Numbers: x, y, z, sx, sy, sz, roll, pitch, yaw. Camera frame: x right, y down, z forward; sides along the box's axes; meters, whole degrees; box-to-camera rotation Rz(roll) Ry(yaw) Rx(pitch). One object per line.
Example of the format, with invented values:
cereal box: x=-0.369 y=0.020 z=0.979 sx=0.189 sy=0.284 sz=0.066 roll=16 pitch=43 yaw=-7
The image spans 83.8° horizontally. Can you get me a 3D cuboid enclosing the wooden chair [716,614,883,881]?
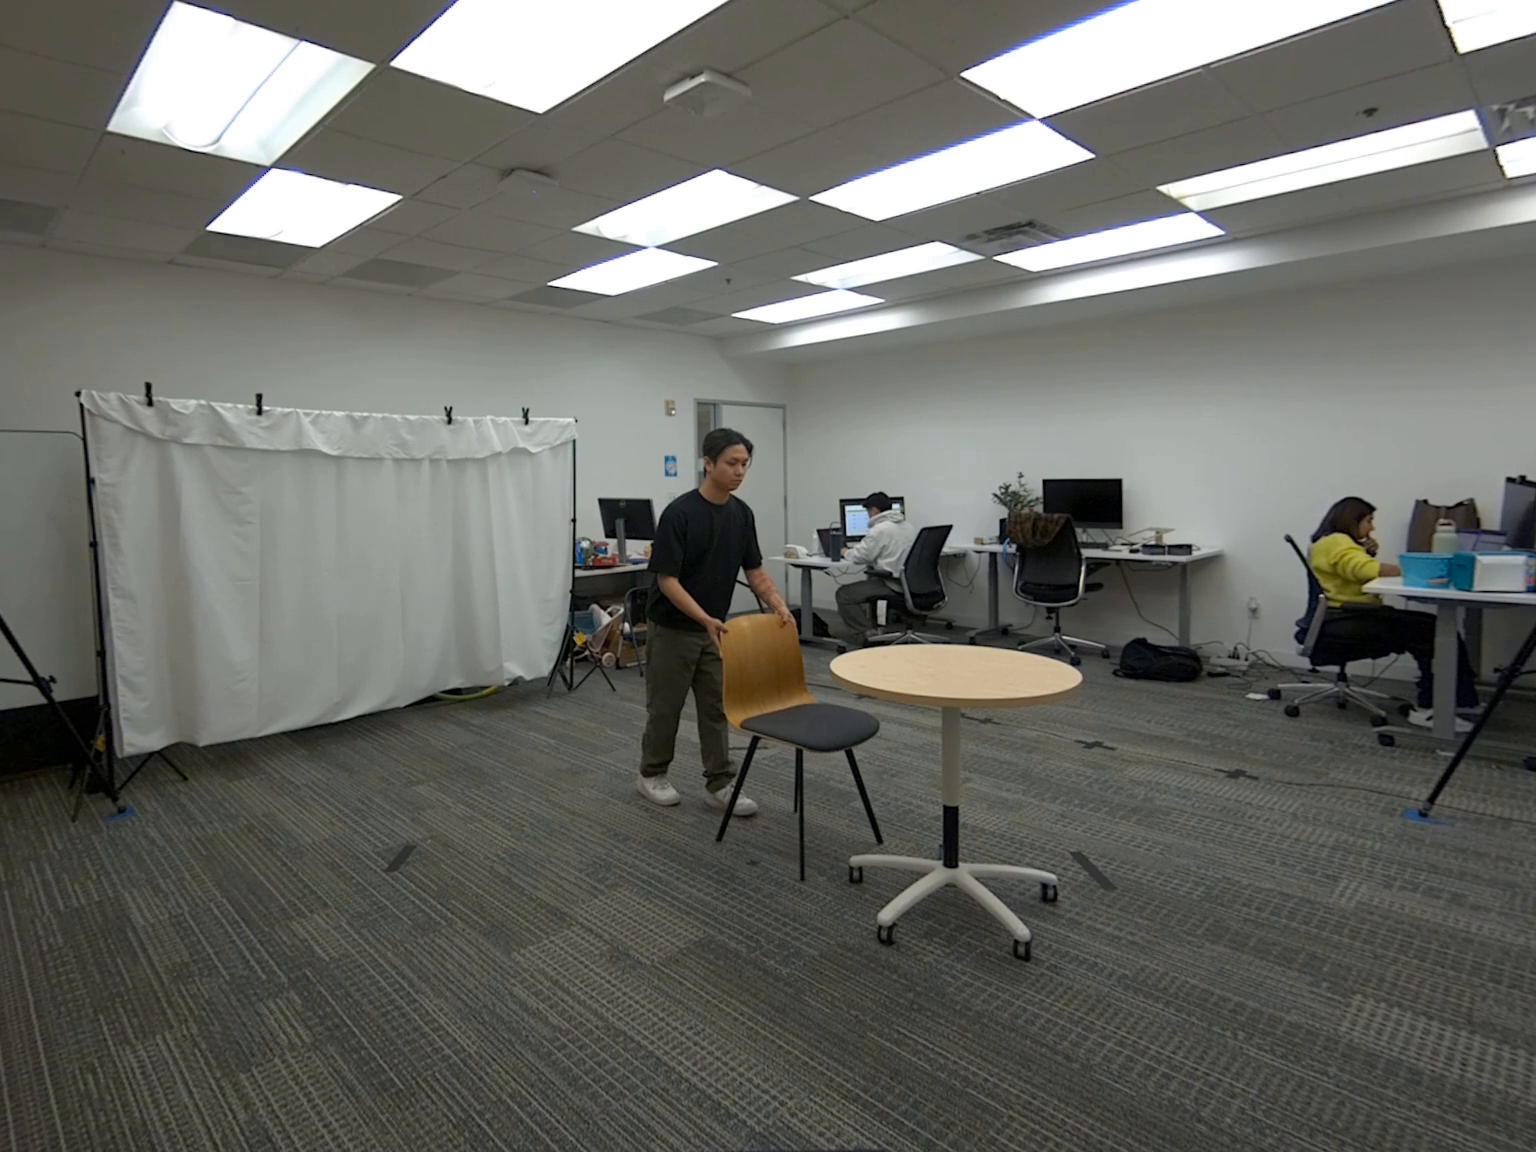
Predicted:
wooden chair: x=0.118 y=0.597 z=3.230 sx=0.465 sy=0.877 sz=0.538 roll=-4 pitch=1 yaw=-43
